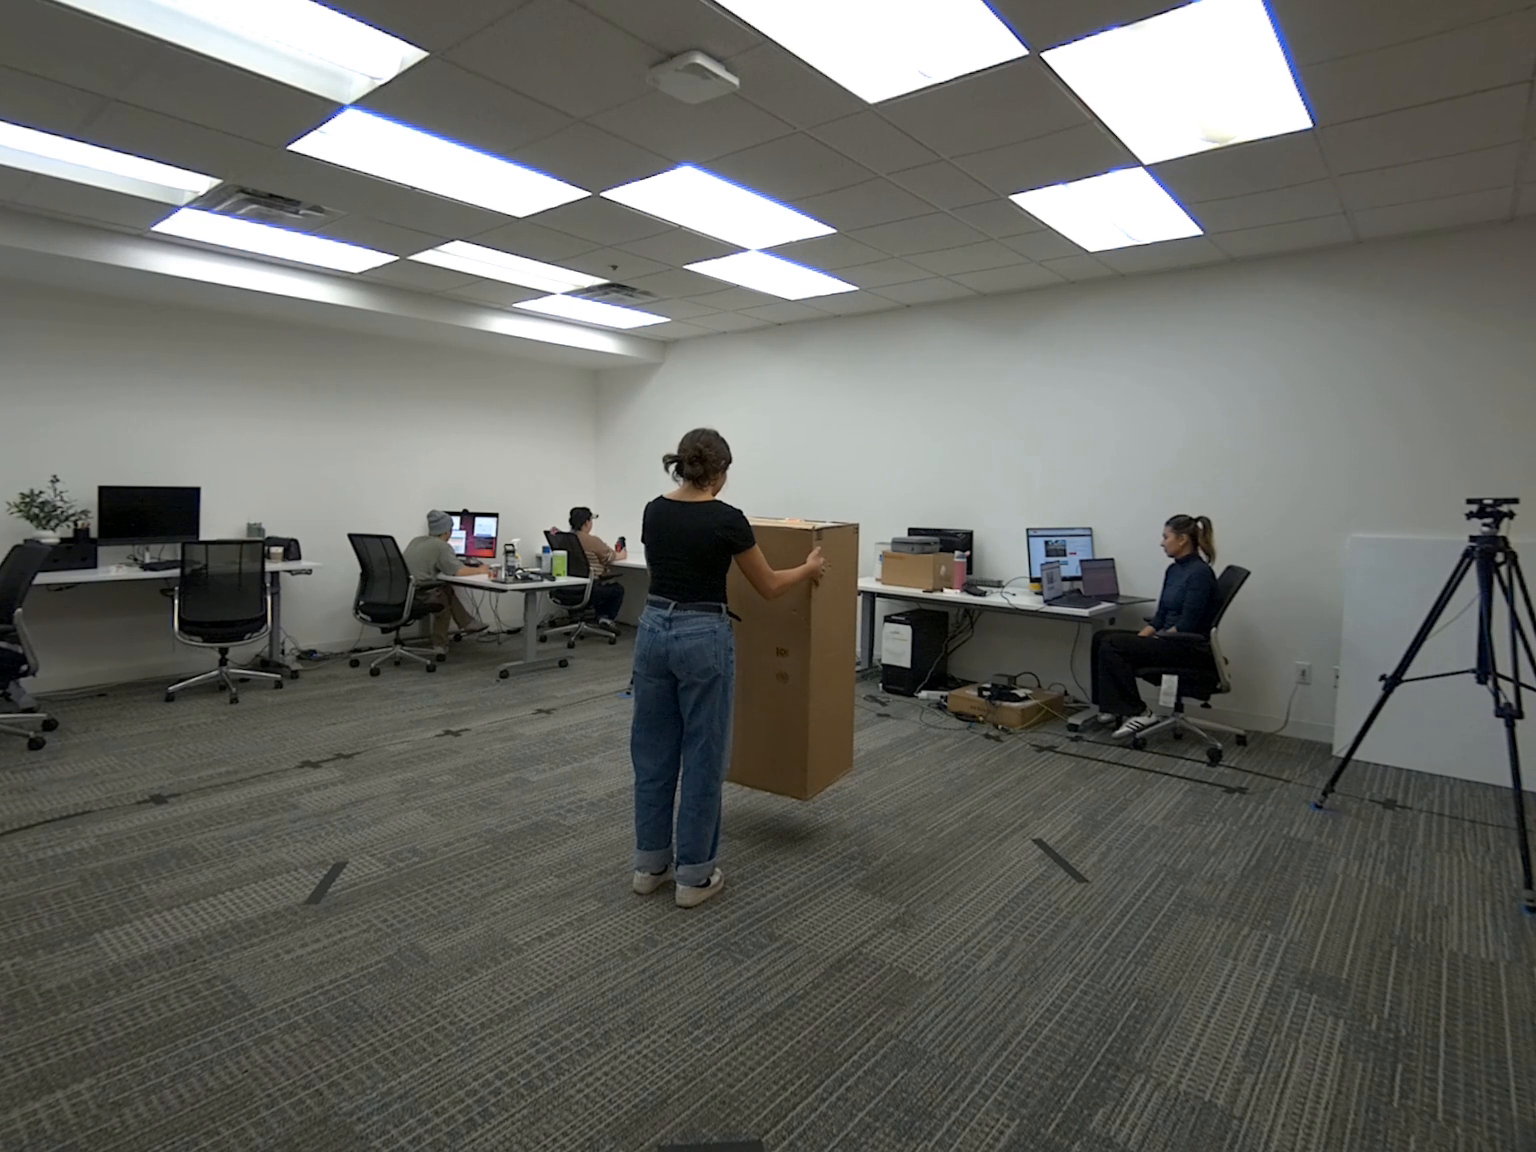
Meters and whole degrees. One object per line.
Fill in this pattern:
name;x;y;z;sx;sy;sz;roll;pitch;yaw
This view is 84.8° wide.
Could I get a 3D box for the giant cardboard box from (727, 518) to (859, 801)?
giant cardboard box;0.005;0.292;3.450;0.595;1.021;0.415;4;6;31
